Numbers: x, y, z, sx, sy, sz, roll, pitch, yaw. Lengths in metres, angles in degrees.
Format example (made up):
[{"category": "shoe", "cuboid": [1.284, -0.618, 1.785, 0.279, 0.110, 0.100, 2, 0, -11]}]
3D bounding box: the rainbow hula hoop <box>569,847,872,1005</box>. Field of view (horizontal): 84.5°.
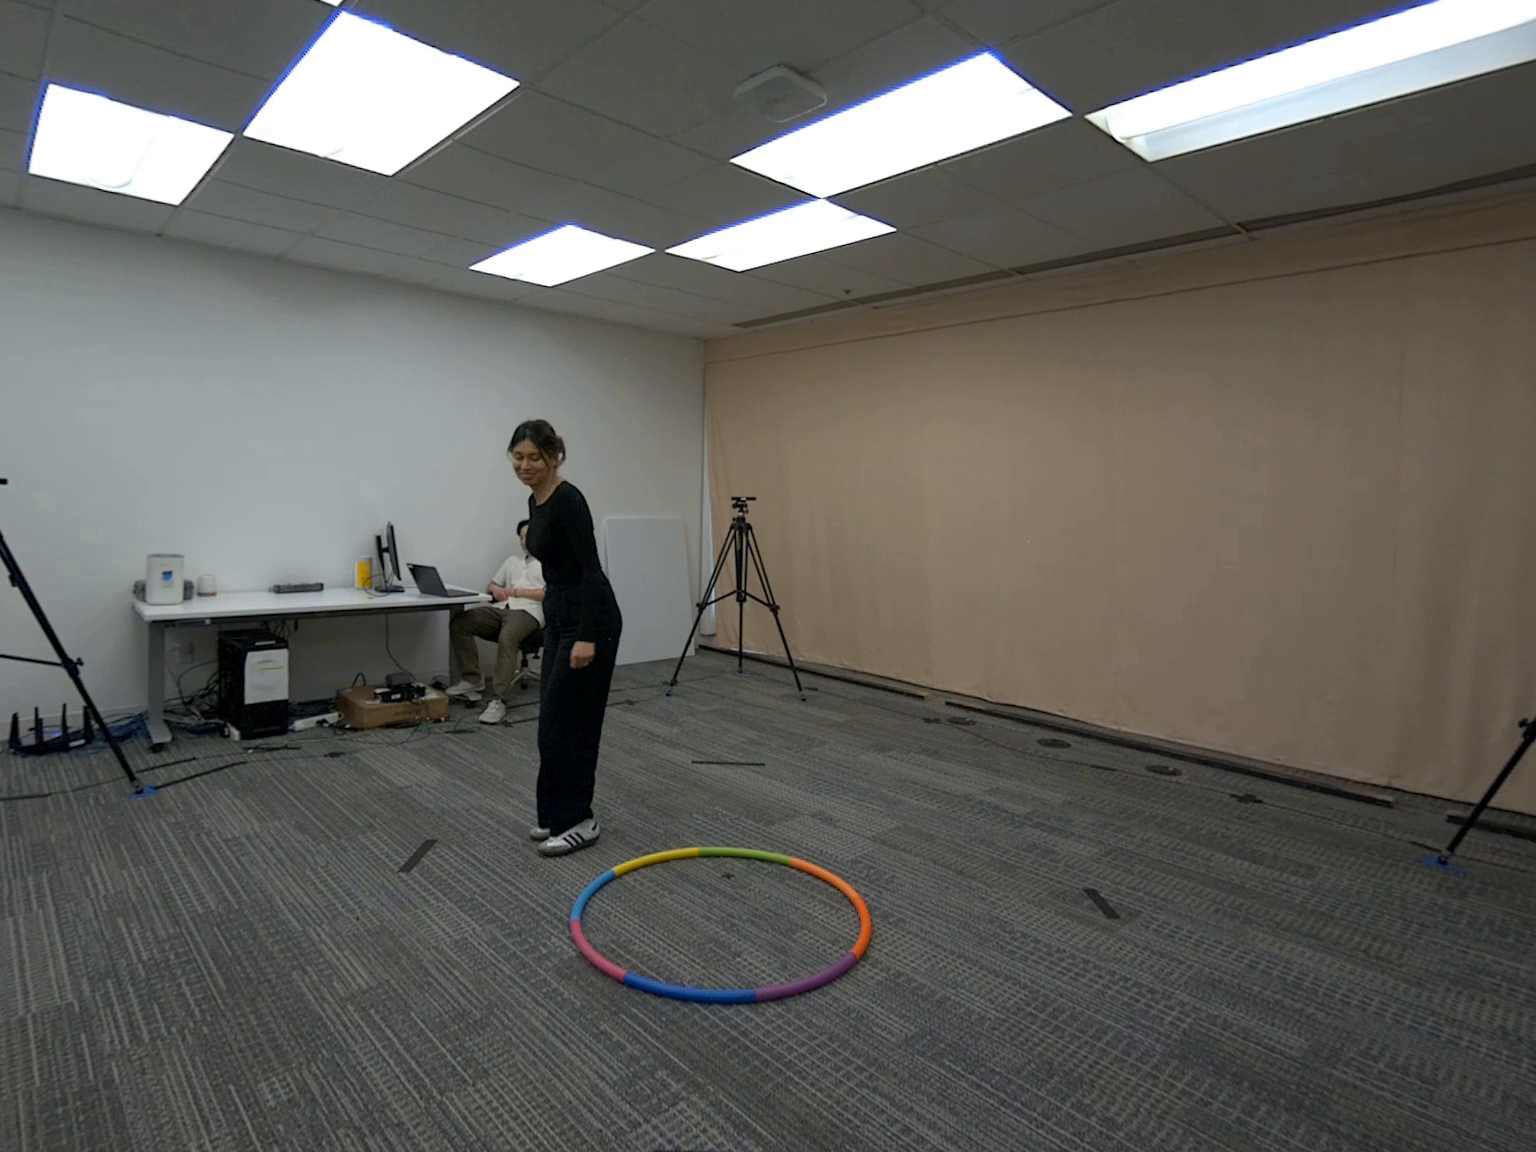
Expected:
[{"category": "rainbow hula hoop", "cuboid": [-0.164, 1.105, 2.801, 0.978, 0.035, 0.982, 1, 5, -1]}]
